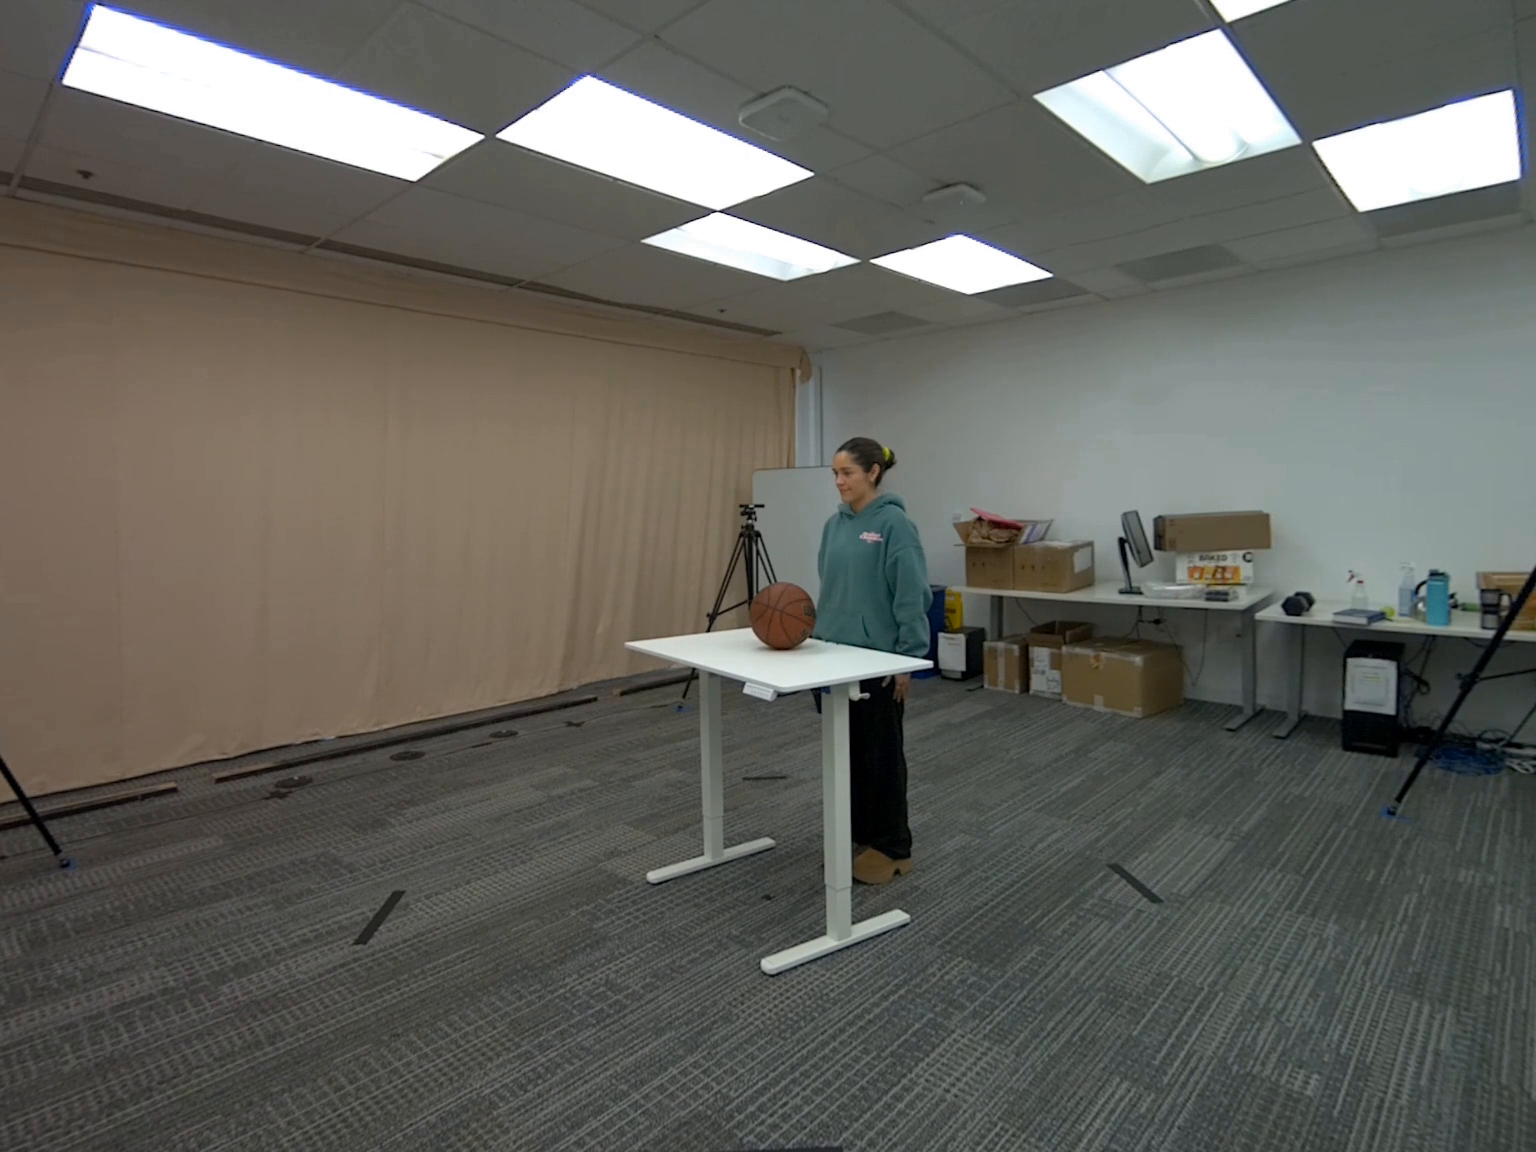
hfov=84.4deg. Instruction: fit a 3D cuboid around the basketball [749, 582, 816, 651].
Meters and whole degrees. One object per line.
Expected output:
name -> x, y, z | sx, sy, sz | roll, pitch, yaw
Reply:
basketball -> 0.054, 0.141, 2.981 | 0.236, 0.235, 0.237 | -1, 4, -2
